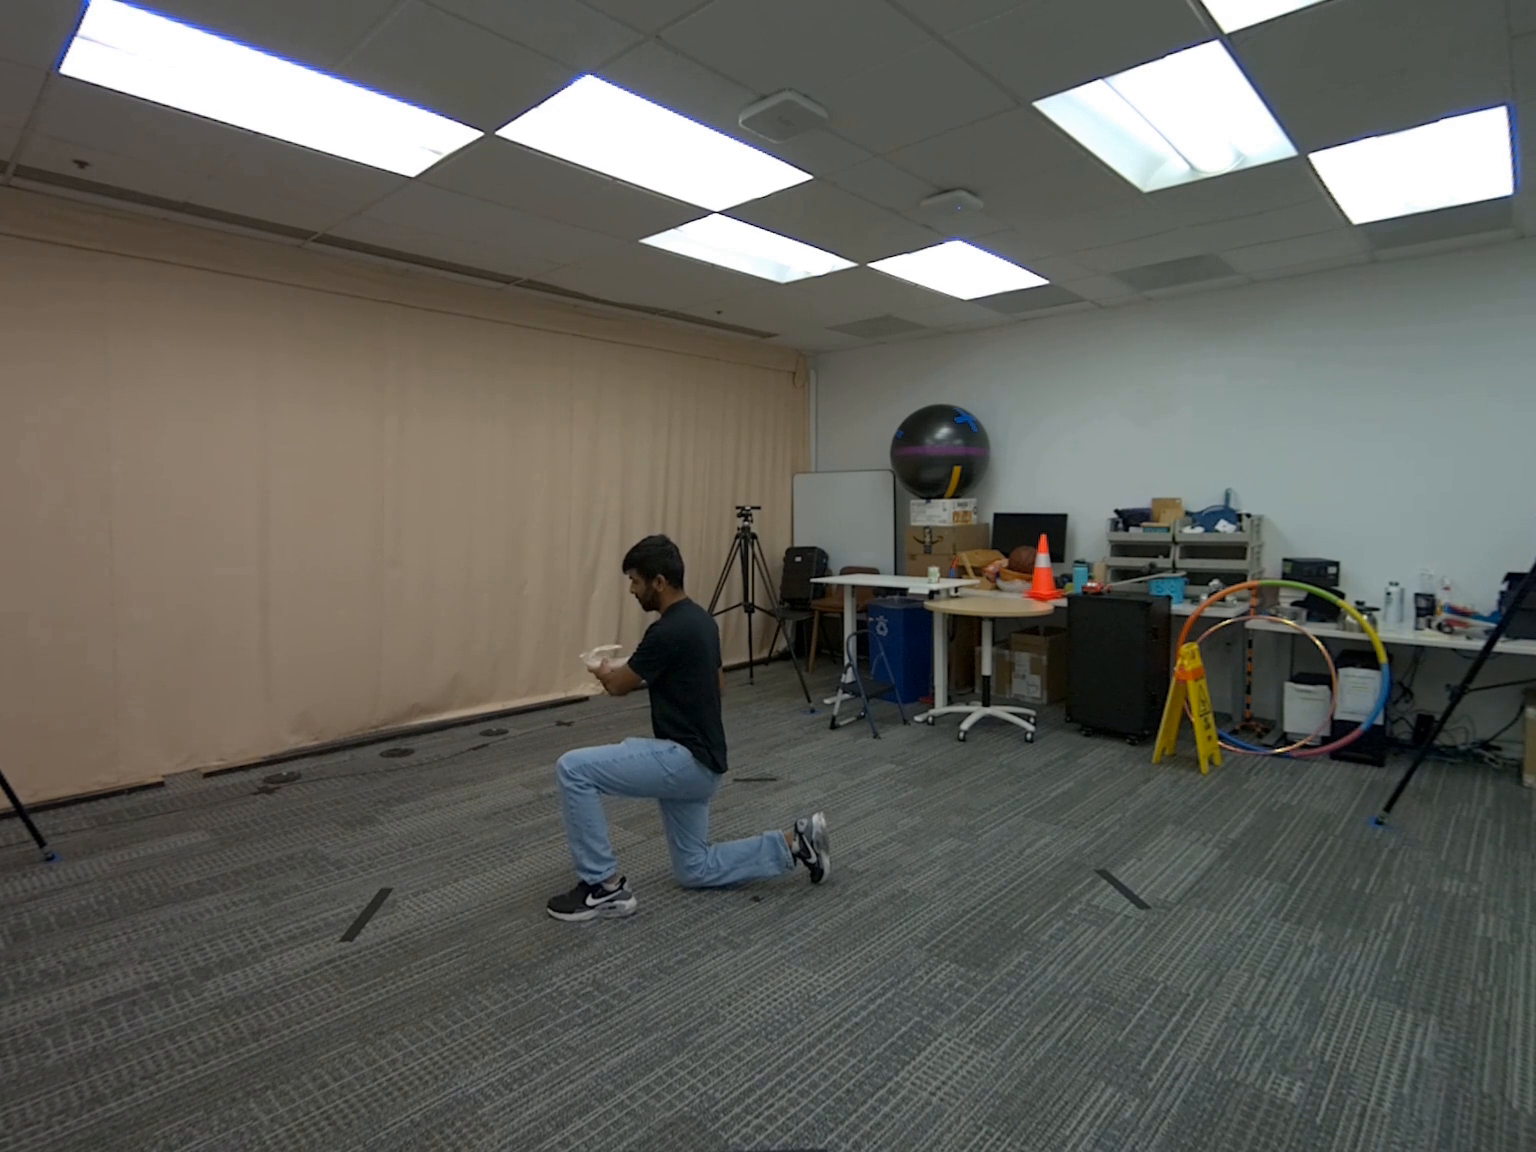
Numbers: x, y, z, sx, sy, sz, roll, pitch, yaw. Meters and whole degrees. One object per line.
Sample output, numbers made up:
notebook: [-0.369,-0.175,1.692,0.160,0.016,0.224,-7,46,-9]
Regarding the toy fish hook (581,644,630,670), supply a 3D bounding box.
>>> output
toy fish hook: [-0.531,0.317,3.471,0.494,0.048,0.232,-5,22,-26]
